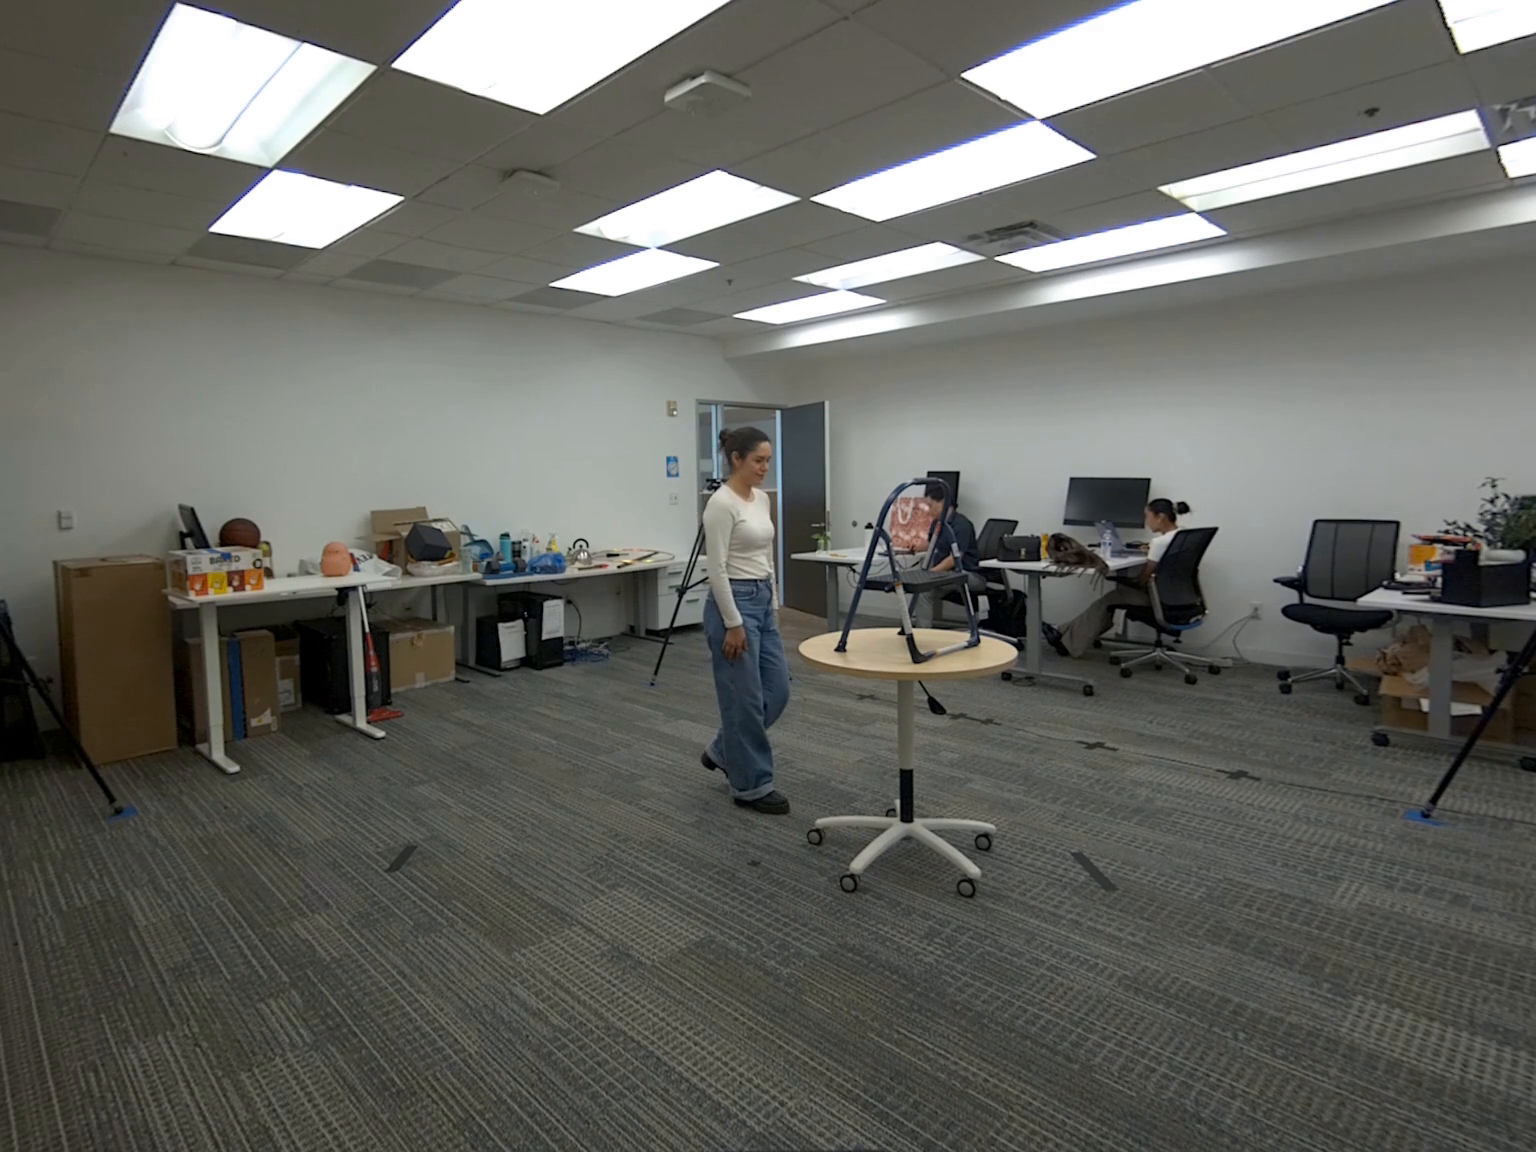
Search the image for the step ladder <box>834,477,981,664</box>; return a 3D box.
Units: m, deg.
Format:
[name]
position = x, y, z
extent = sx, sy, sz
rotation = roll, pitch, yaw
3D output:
[step ladder]
position = 0.500, -0.042, 3.049
extent = 0.360, 0.603, 0.419
rotation = 2, 6, 43
